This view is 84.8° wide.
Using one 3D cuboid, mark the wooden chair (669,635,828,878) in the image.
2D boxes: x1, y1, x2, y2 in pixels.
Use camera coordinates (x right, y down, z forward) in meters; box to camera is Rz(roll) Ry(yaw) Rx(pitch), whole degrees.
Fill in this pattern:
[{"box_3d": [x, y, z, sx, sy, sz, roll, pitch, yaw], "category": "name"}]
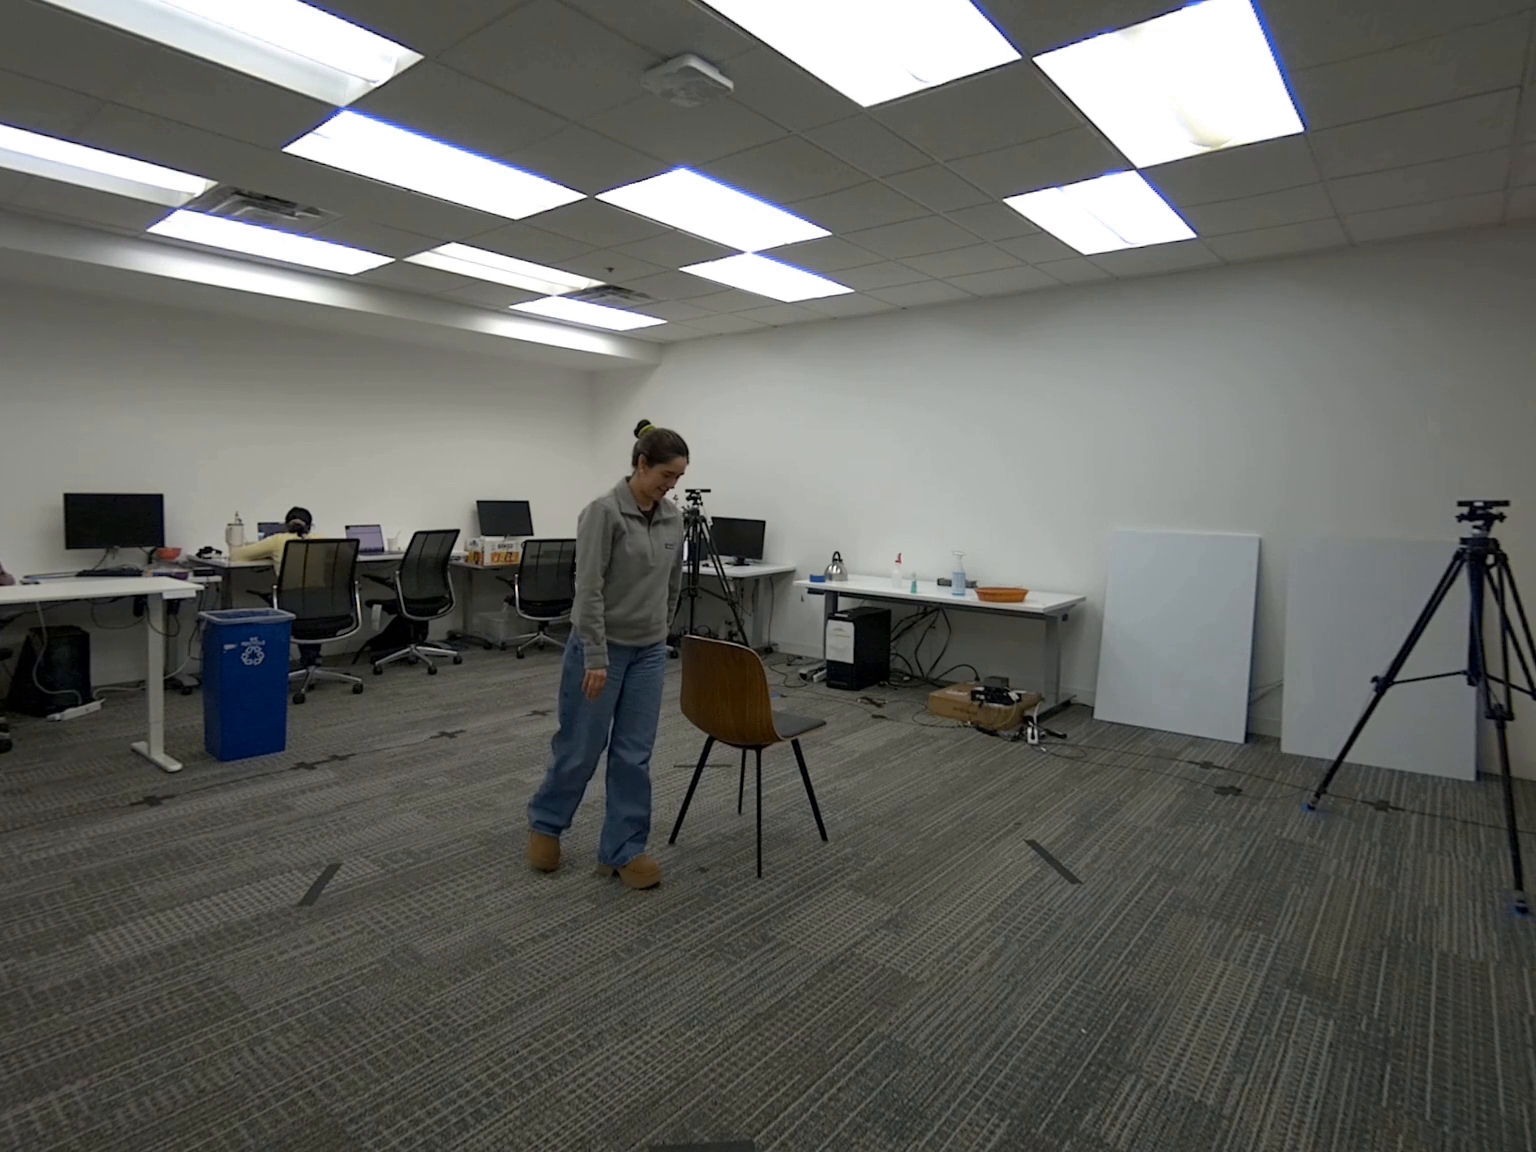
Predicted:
[{"box_3d": [-0.072, 0.626, 3.348, 0.494, 0.872, 0.509, 3, 8, 38], "category": "wooden chair"}]
